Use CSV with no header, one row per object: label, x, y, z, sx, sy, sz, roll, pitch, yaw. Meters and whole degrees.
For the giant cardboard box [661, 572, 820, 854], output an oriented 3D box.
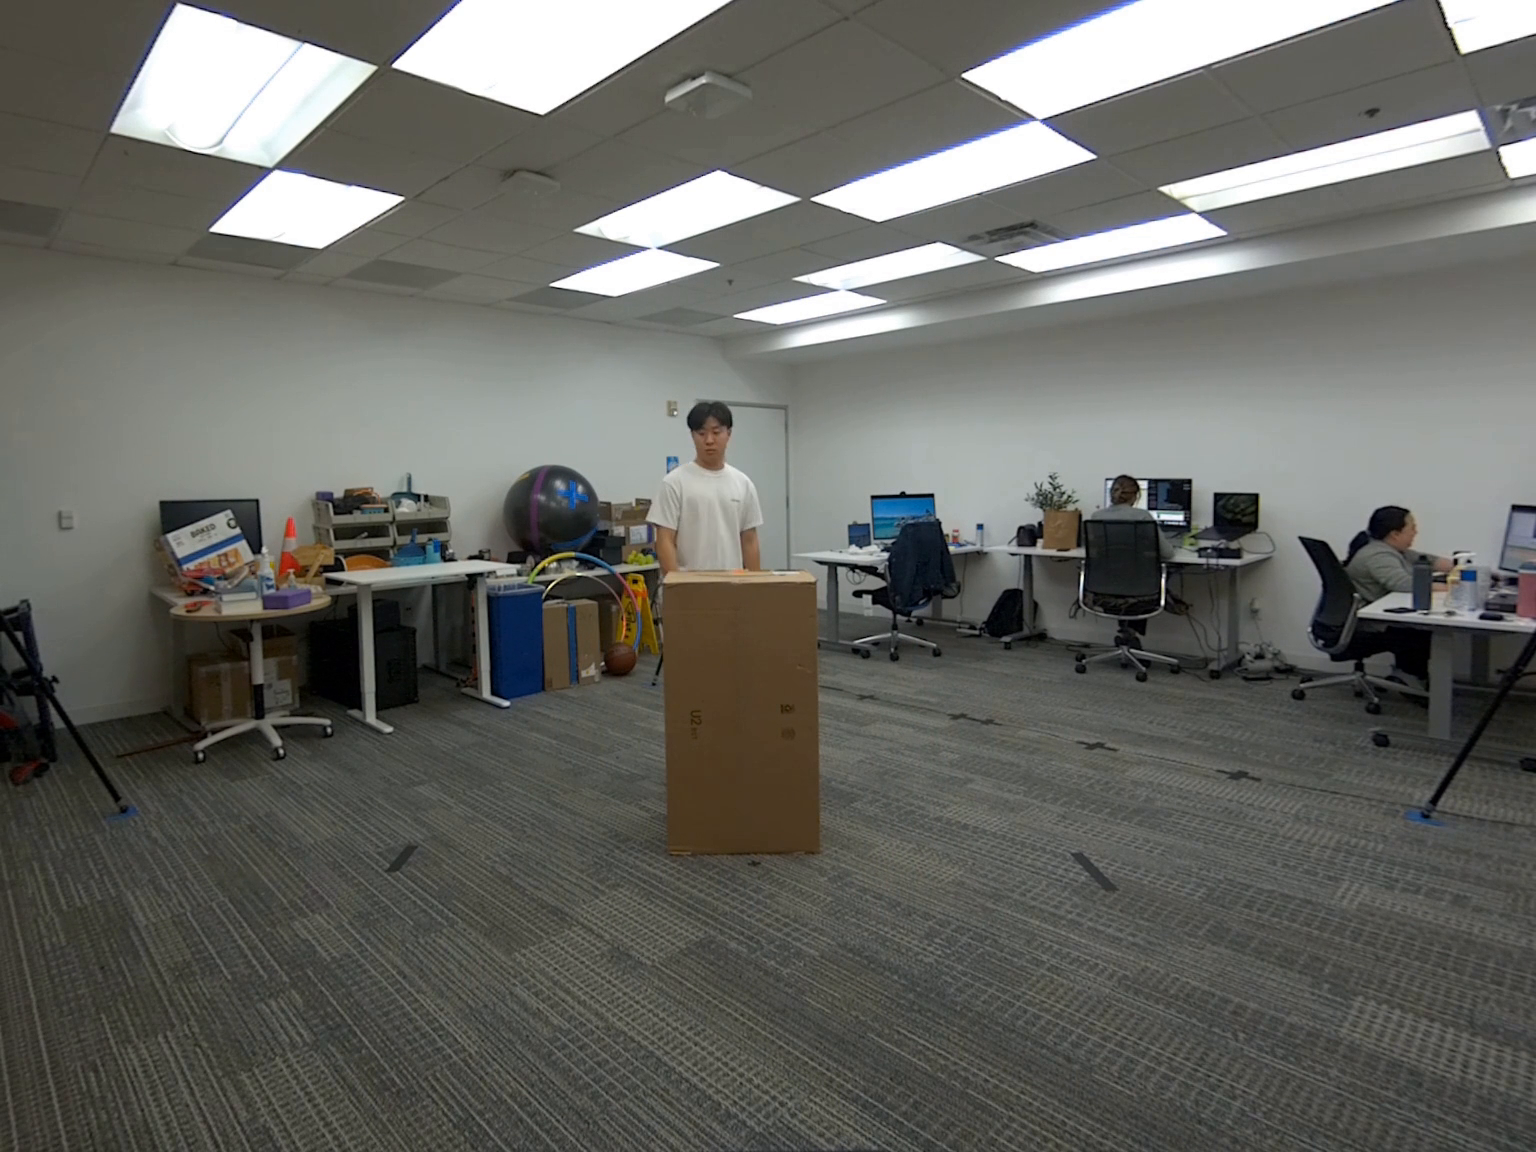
giant cardboard box,-0.102,0.508,3.366,0.577,1.022,0.428,-1,4,-1
